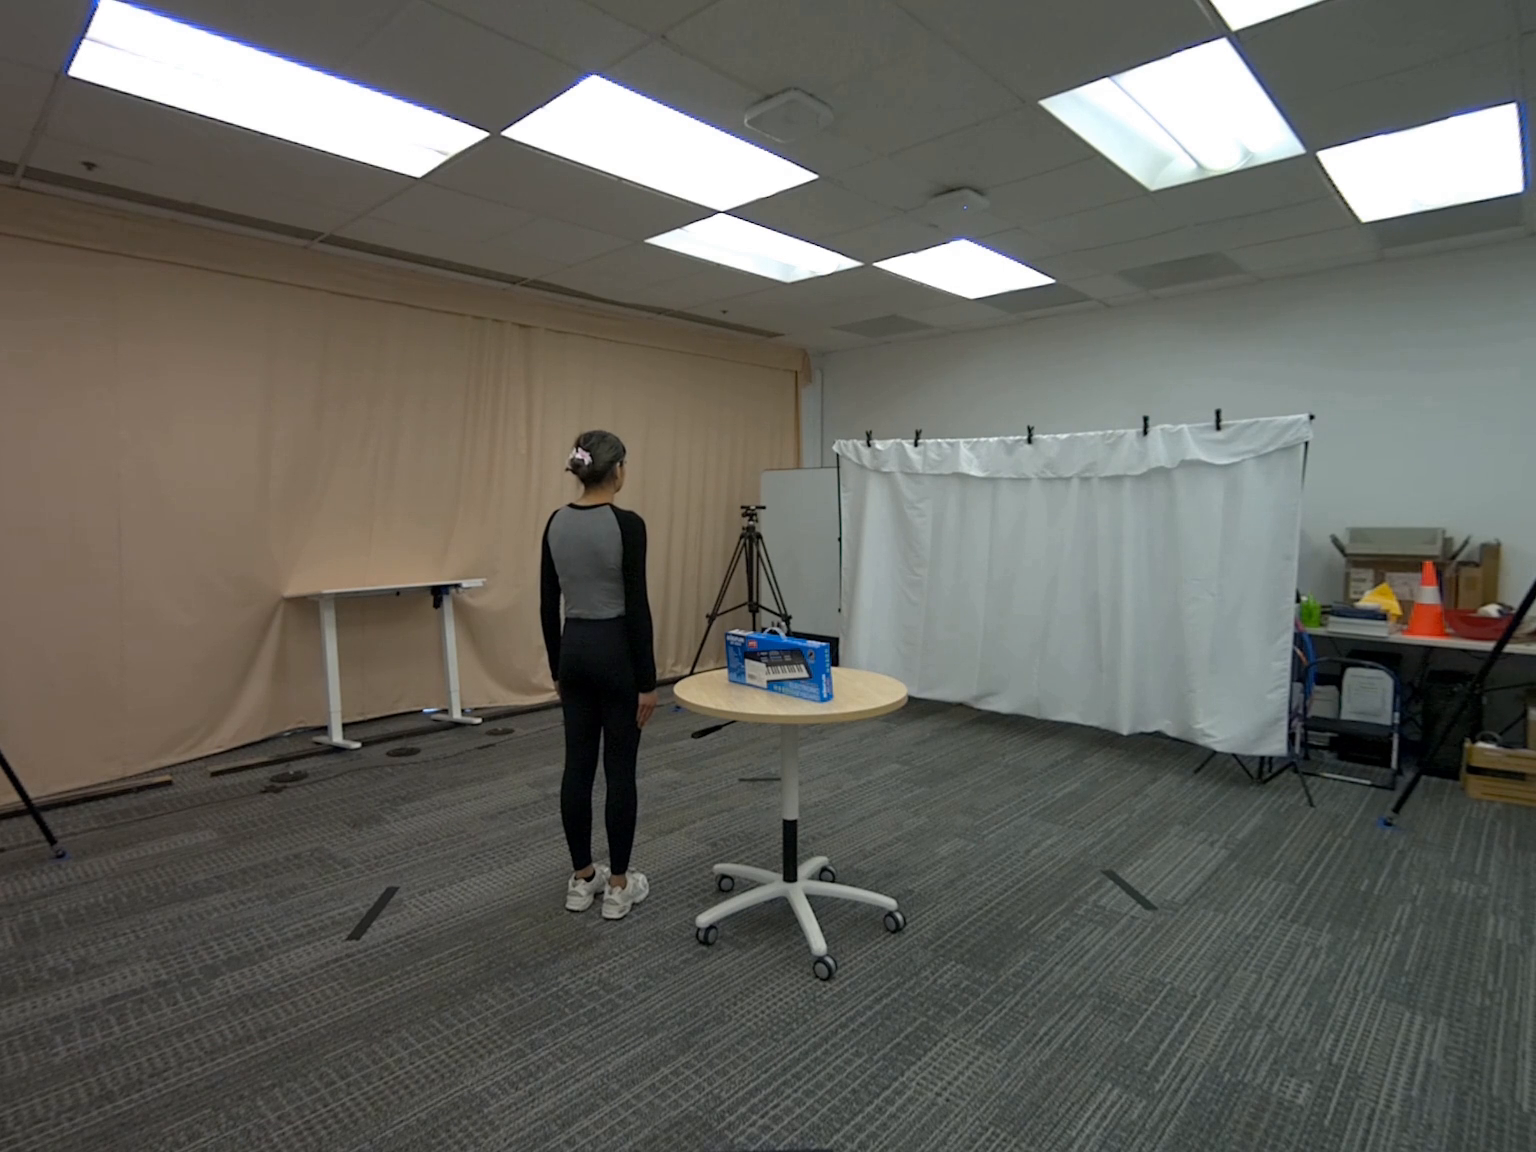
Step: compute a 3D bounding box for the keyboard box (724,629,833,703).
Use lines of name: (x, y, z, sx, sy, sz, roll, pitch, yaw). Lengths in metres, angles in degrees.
keyboard box: (0.033, 0.286, 2.721, 0.057, 0.175, 0.451, -9, 8, -40)
